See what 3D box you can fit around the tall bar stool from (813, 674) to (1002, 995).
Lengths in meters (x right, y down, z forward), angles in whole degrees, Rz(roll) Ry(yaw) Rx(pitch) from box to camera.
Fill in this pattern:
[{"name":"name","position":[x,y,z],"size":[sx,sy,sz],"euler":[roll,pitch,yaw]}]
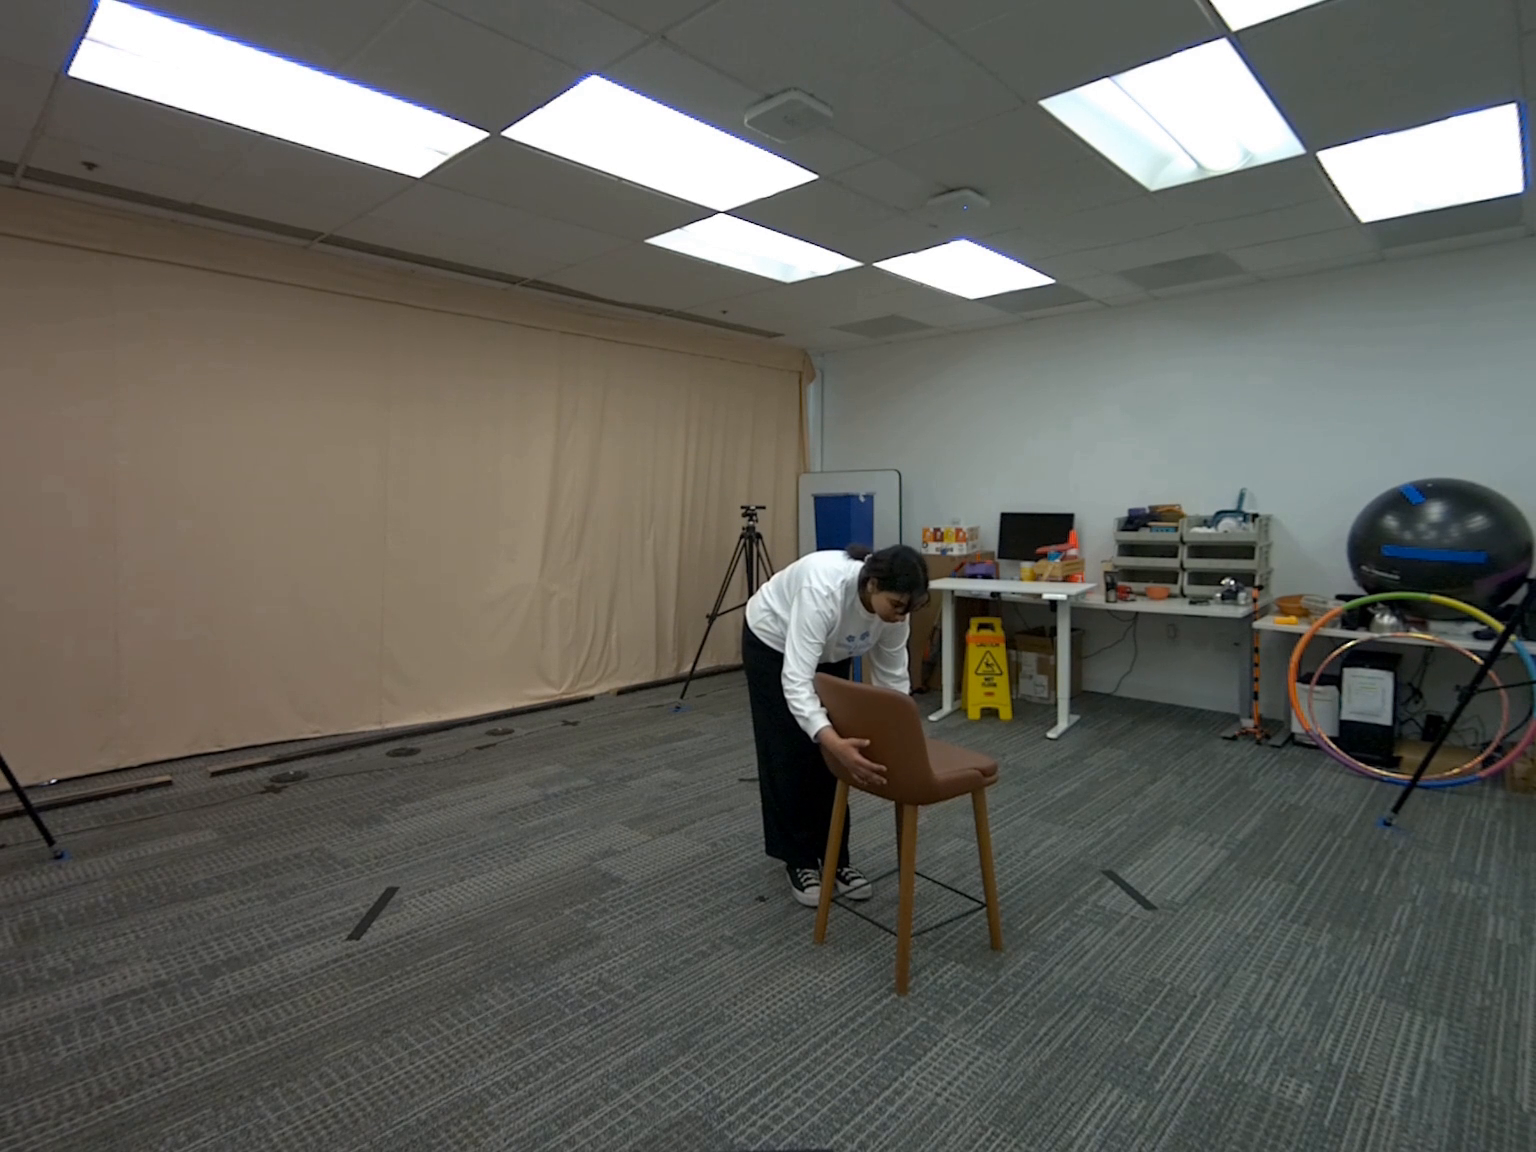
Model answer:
[{"name":"tall bar stool","position":[0.441,0.735,2.637],"size":[0.454,0.887,0.471],"euler":[-5,6,-38]}]
